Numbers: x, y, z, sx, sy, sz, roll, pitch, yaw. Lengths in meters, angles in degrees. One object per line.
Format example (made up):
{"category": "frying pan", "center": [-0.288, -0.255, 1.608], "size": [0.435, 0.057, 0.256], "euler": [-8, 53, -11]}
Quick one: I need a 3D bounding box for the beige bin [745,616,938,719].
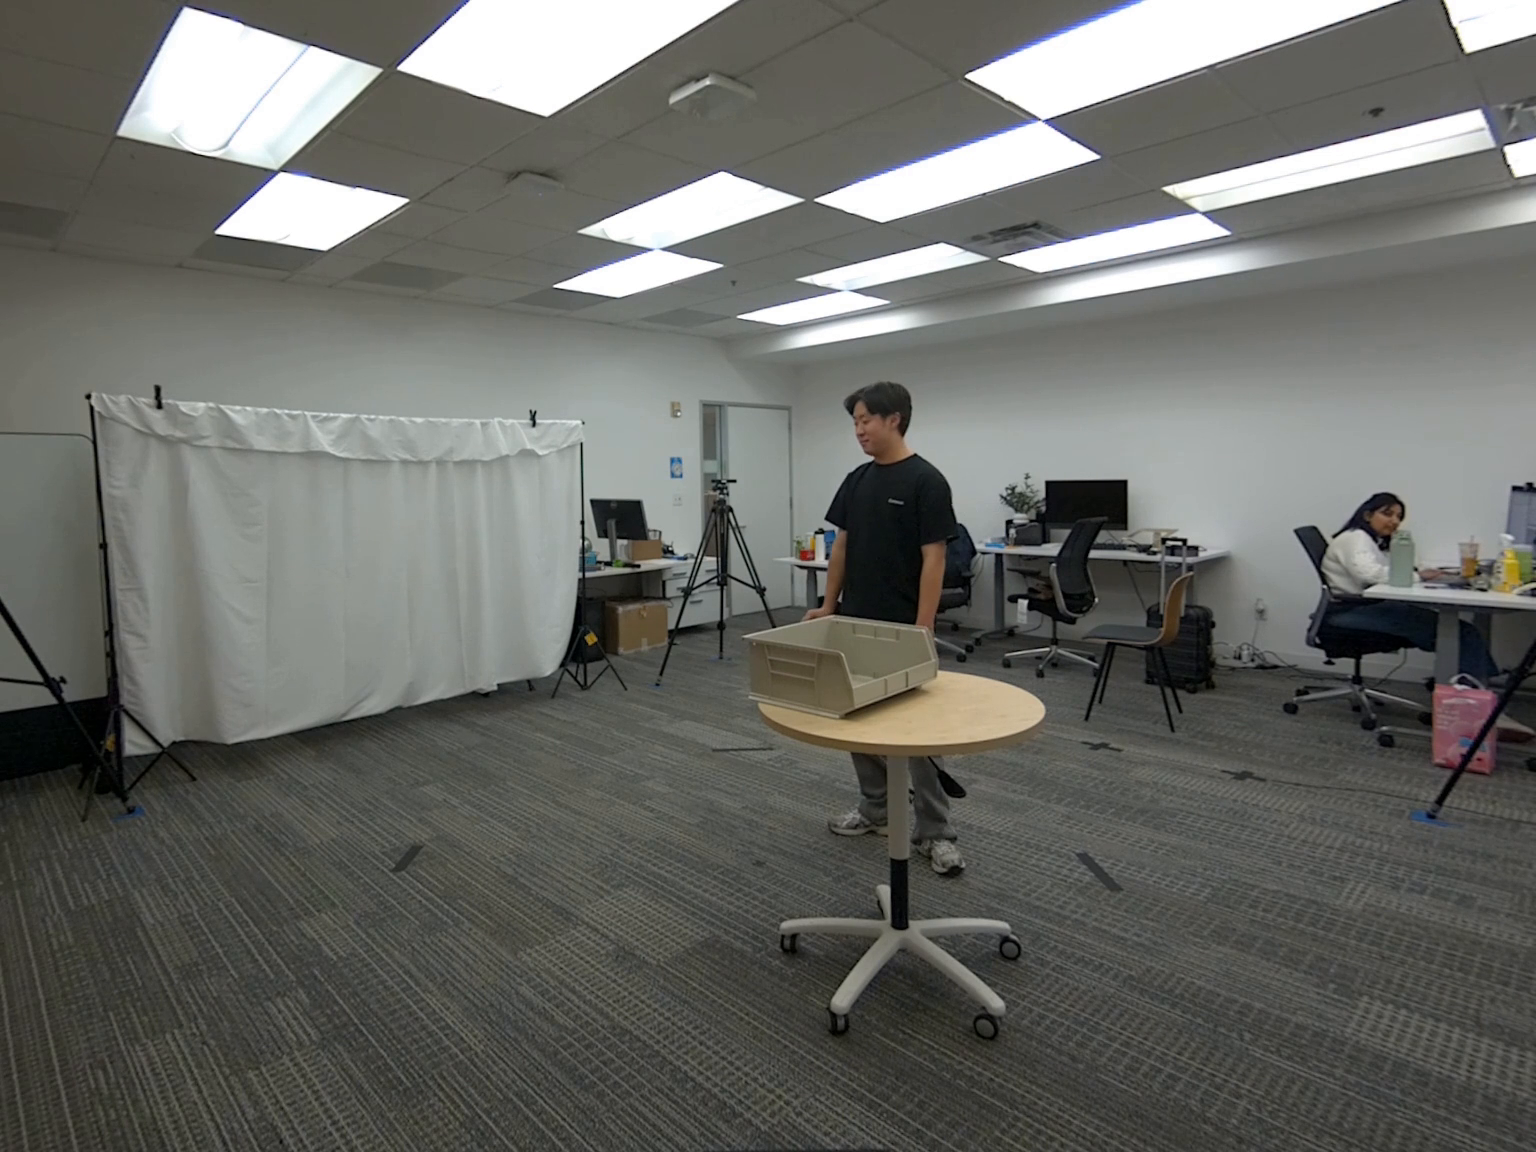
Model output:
{"category": "beige bin", "center": [0.202, 0.250, 2.419], "size": [0.389, 0.188, 0.411], "euler": [4, 9, 45]}
